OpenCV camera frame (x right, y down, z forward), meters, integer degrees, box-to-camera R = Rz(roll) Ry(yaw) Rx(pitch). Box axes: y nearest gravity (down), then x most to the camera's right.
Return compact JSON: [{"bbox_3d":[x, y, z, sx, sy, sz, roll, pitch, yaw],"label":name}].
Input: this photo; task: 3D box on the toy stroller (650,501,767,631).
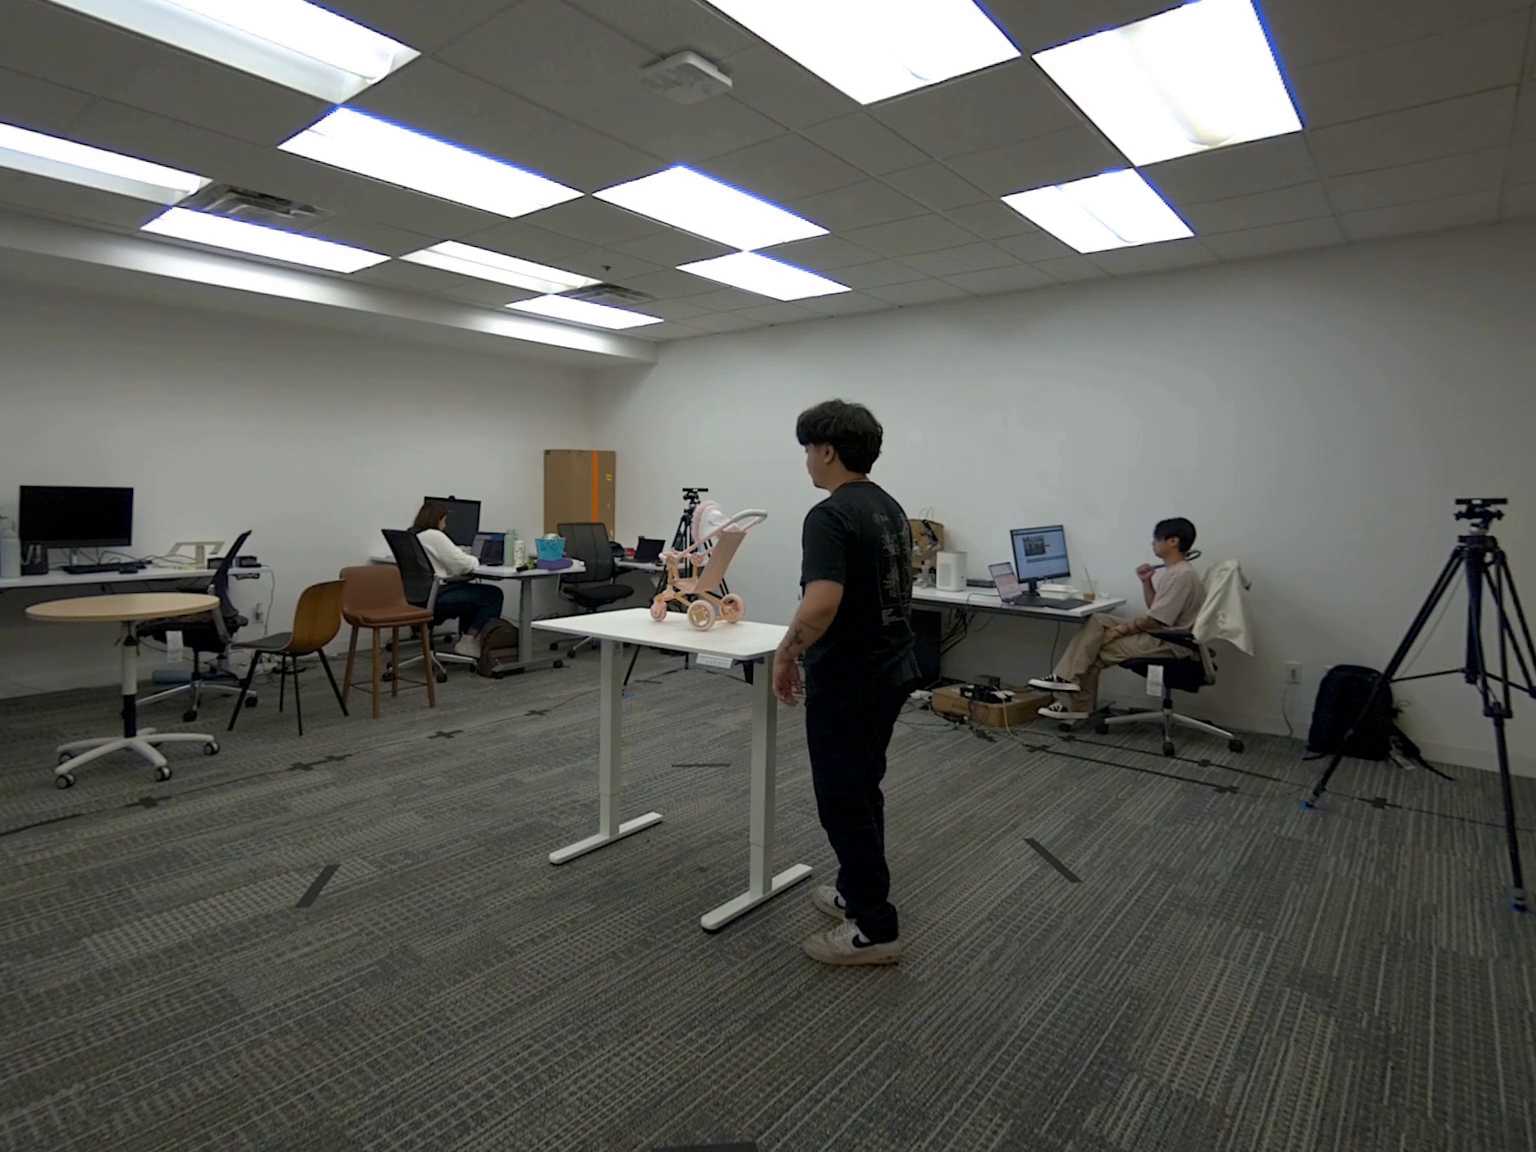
[{"bbox_3d":[-0.252,-0.041,3.158,0.353,0.531,0.274,20,11,28],"label":"toy stroller"}]
